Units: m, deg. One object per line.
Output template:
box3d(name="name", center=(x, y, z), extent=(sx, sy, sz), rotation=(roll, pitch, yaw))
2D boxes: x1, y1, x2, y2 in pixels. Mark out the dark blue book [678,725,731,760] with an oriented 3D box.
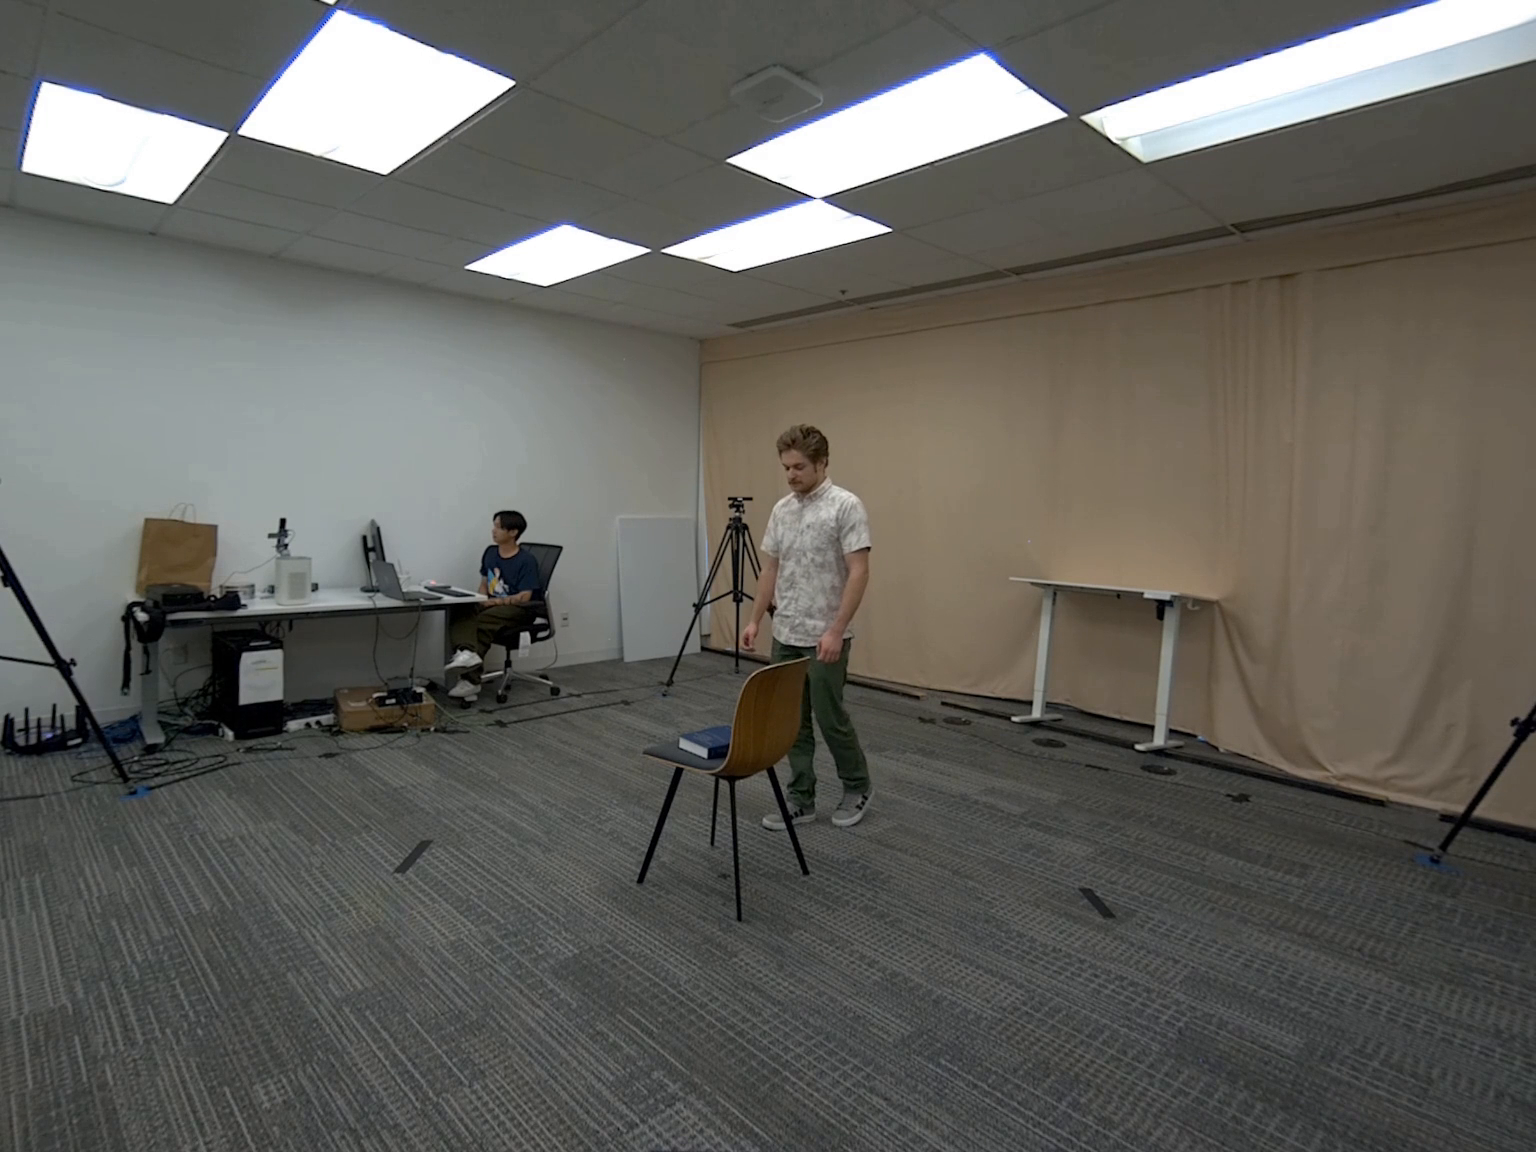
box3d(name="dark blue book", center=(-0.185, 0.604, 3.068), extent=(0.168, 0.045, 0.239), rotation=(10, 9, 43))
